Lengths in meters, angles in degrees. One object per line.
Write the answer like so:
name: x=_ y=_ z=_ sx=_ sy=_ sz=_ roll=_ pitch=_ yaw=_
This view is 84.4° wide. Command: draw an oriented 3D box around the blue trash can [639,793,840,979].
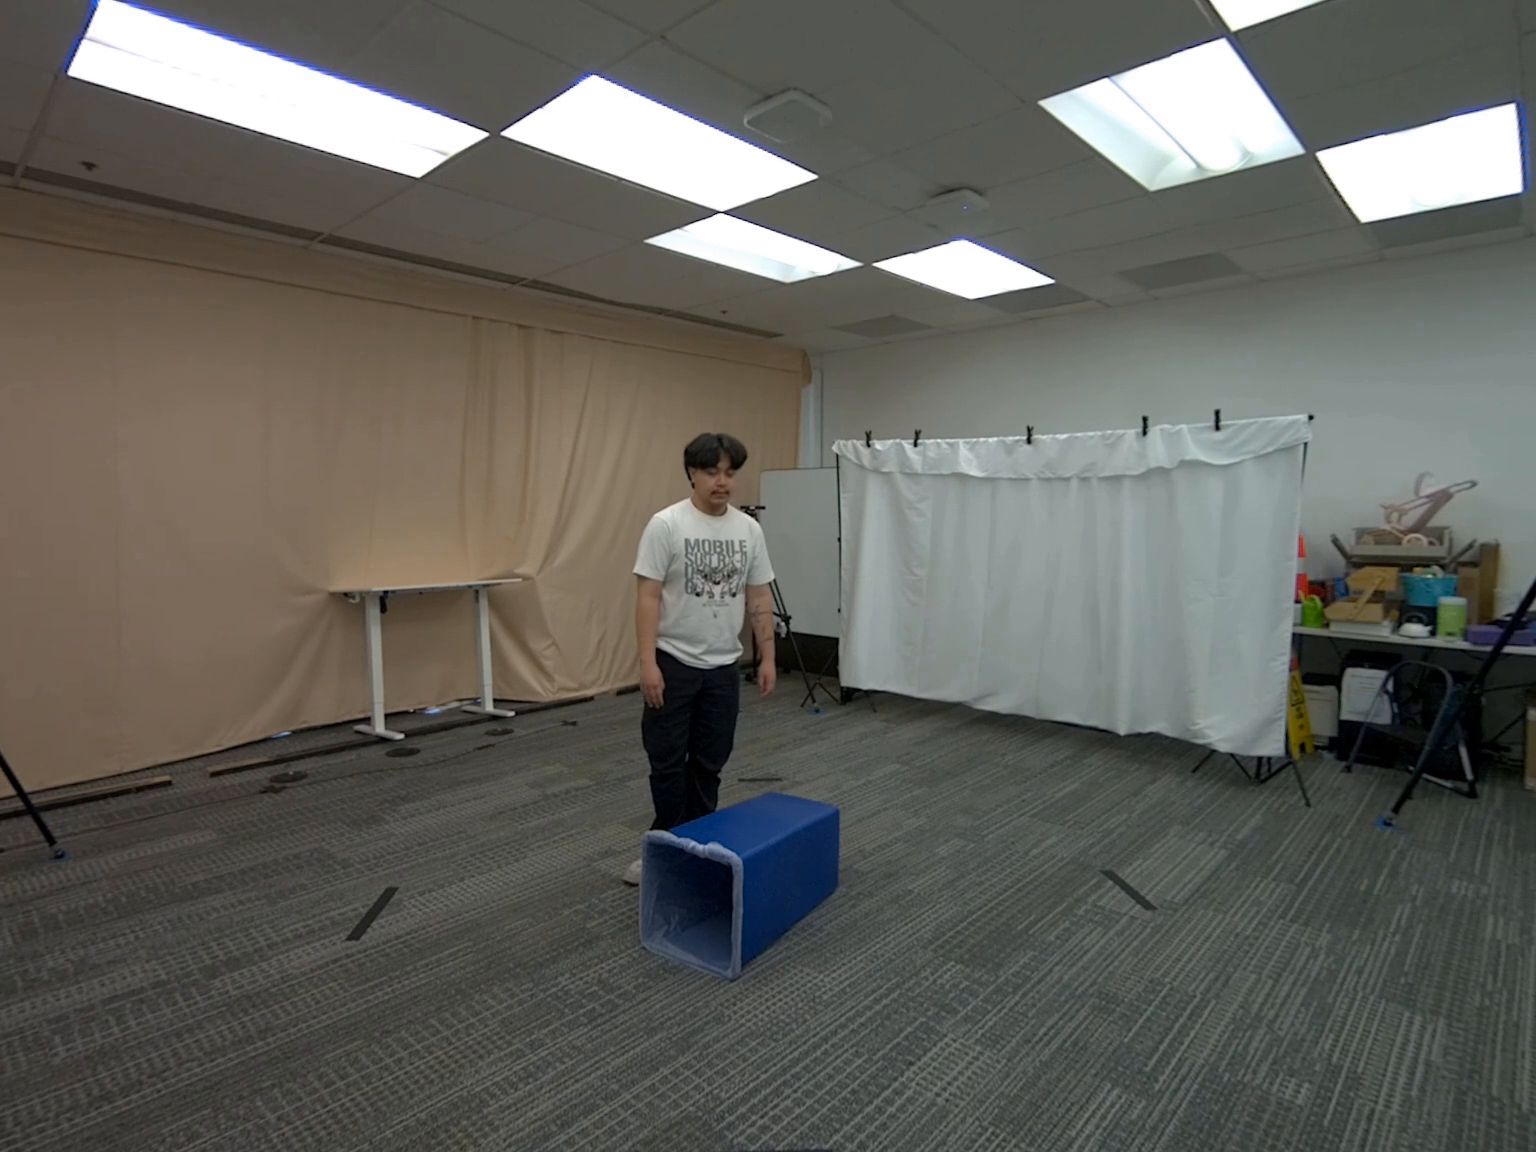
blue trash can: x=-0.048 y=0.993 z=2.838 sx=0.389 sy=0.374 sz=0.692 roll=1 pitch=1 yaw=33
